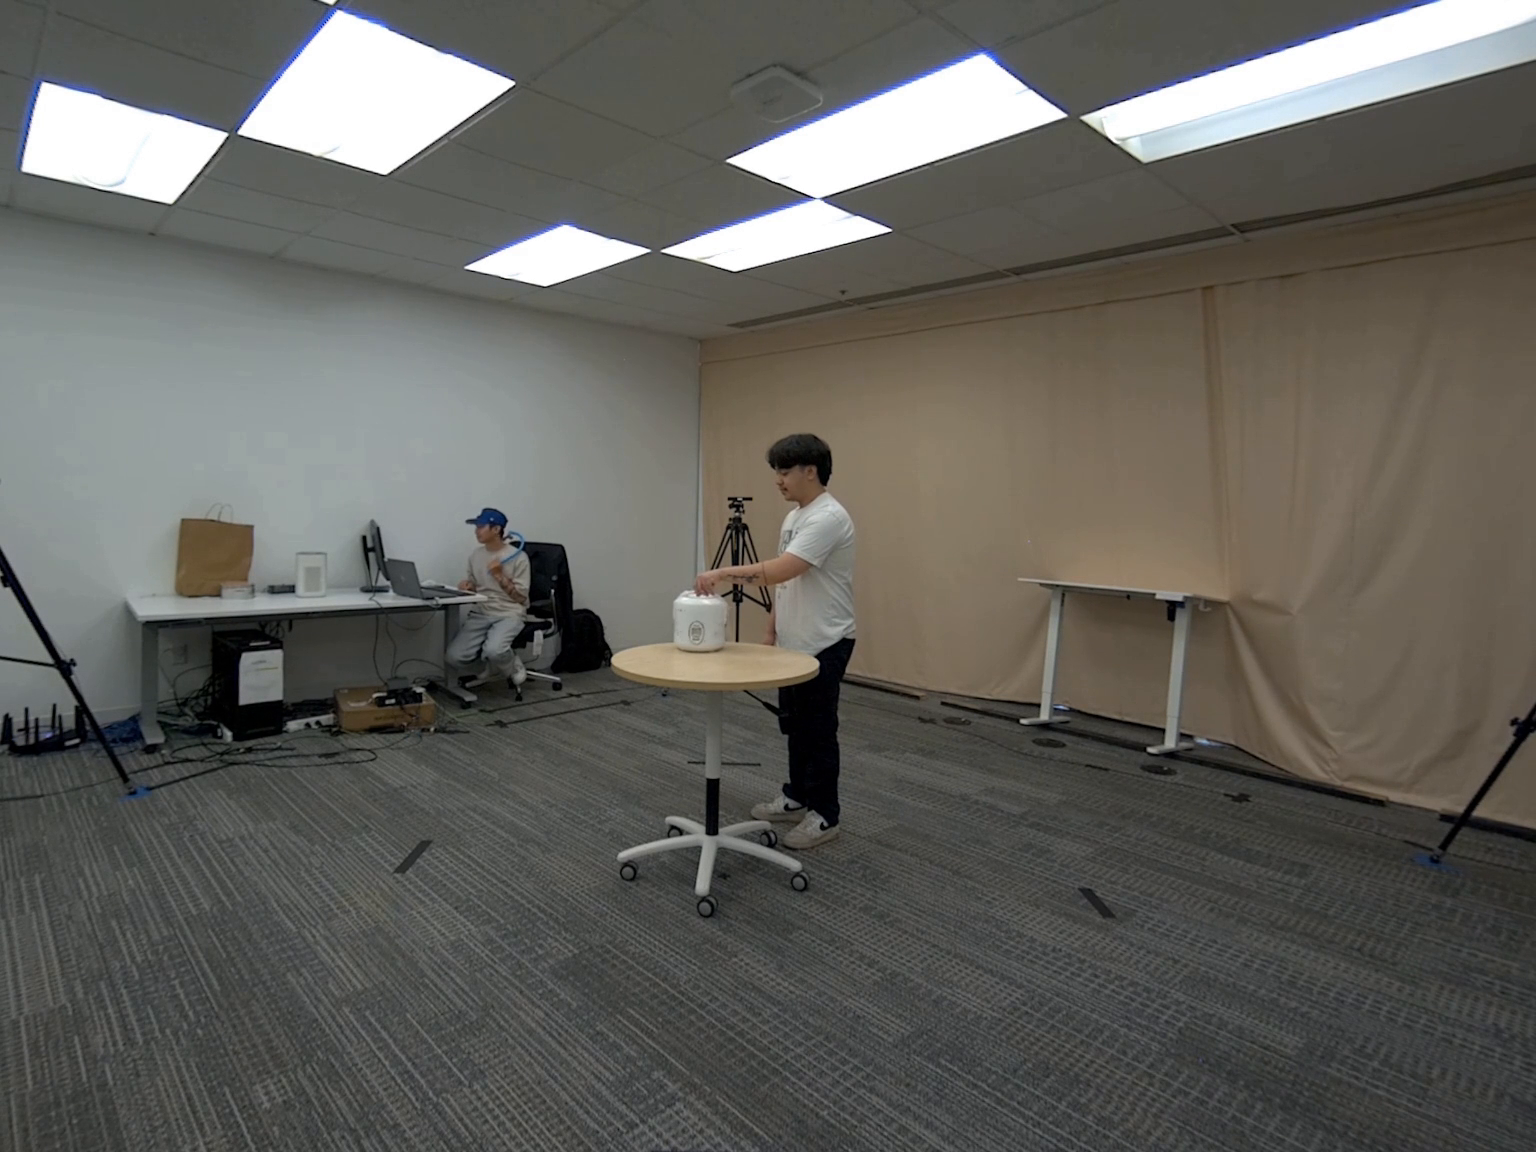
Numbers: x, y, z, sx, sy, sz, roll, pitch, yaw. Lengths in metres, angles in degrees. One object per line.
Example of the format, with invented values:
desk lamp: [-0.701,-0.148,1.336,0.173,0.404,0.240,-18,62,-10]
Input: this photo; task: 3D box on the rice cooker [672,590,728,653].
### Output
rice cooker: [-0.271,0.171,3.313,0.221,0.232,0.217,1,4,4]
